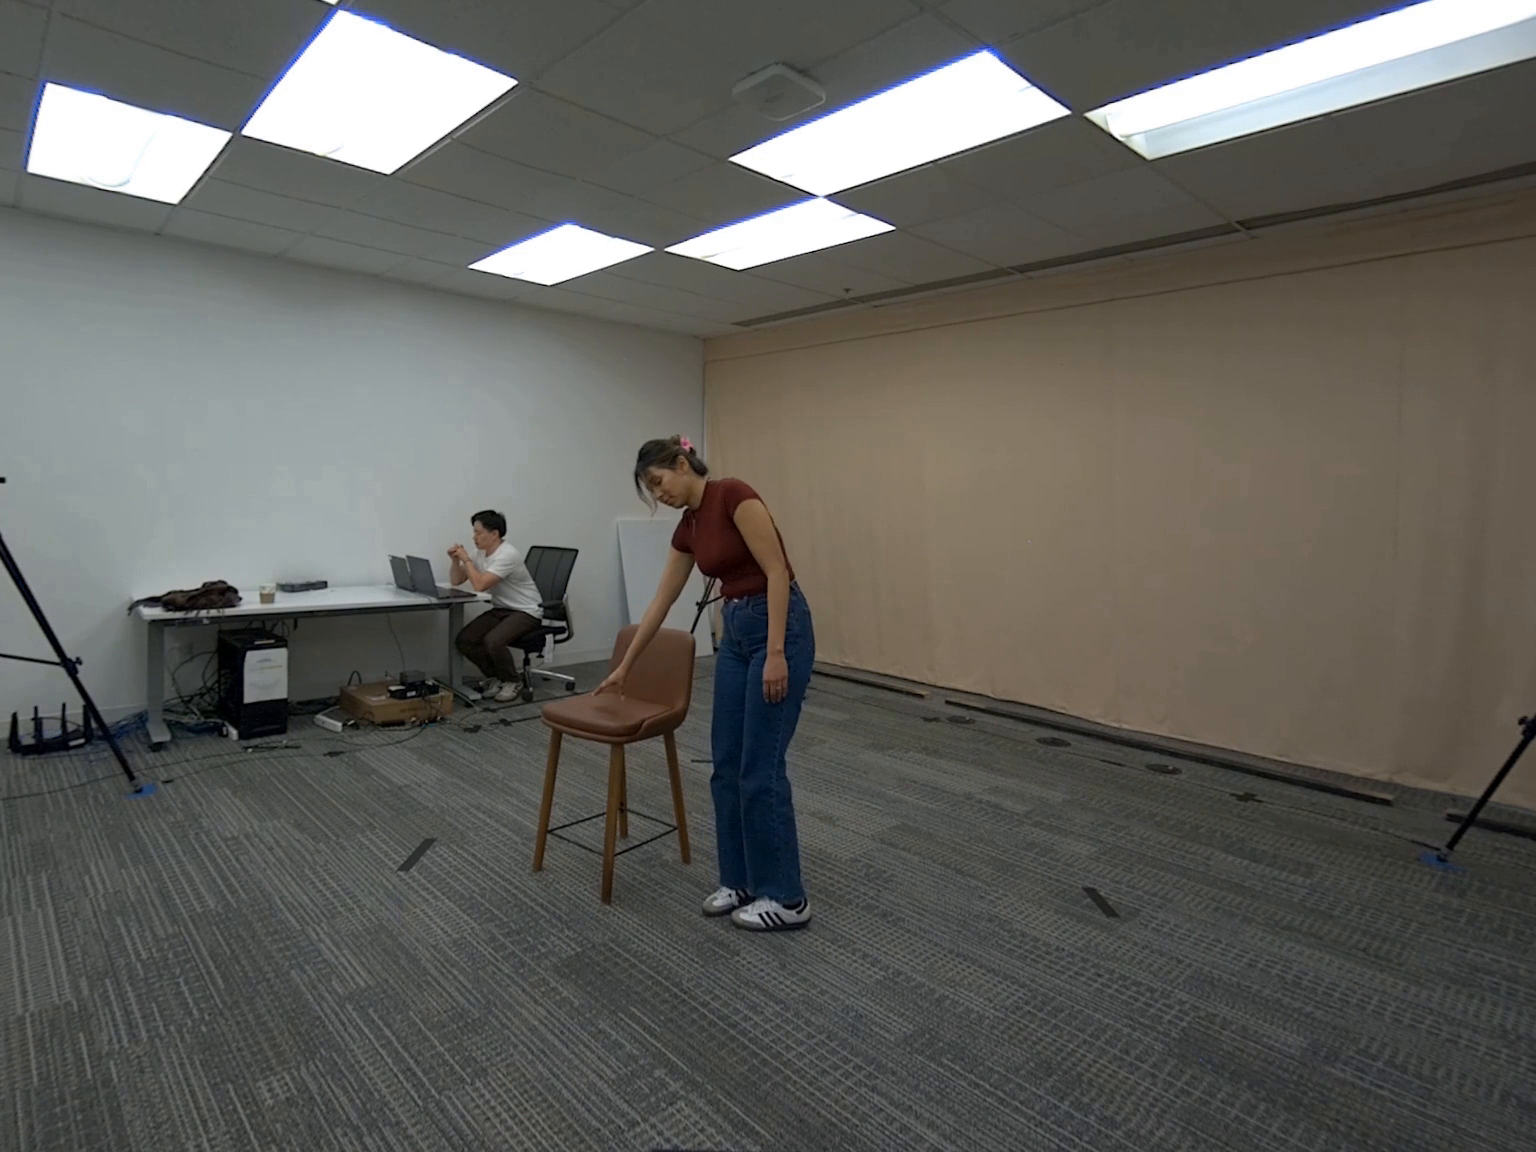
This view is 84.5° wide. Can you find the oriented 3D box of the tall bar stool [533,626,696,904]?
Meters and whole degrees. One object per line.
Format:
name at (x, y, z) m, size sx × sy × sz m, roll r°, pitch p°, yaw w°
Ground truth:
tall bar stool at (-0.569, 0.659, 3.129) m, size 0.468 × 0.888 × 0.457 m, roll 4°, pitch 3°, yaw 39°
